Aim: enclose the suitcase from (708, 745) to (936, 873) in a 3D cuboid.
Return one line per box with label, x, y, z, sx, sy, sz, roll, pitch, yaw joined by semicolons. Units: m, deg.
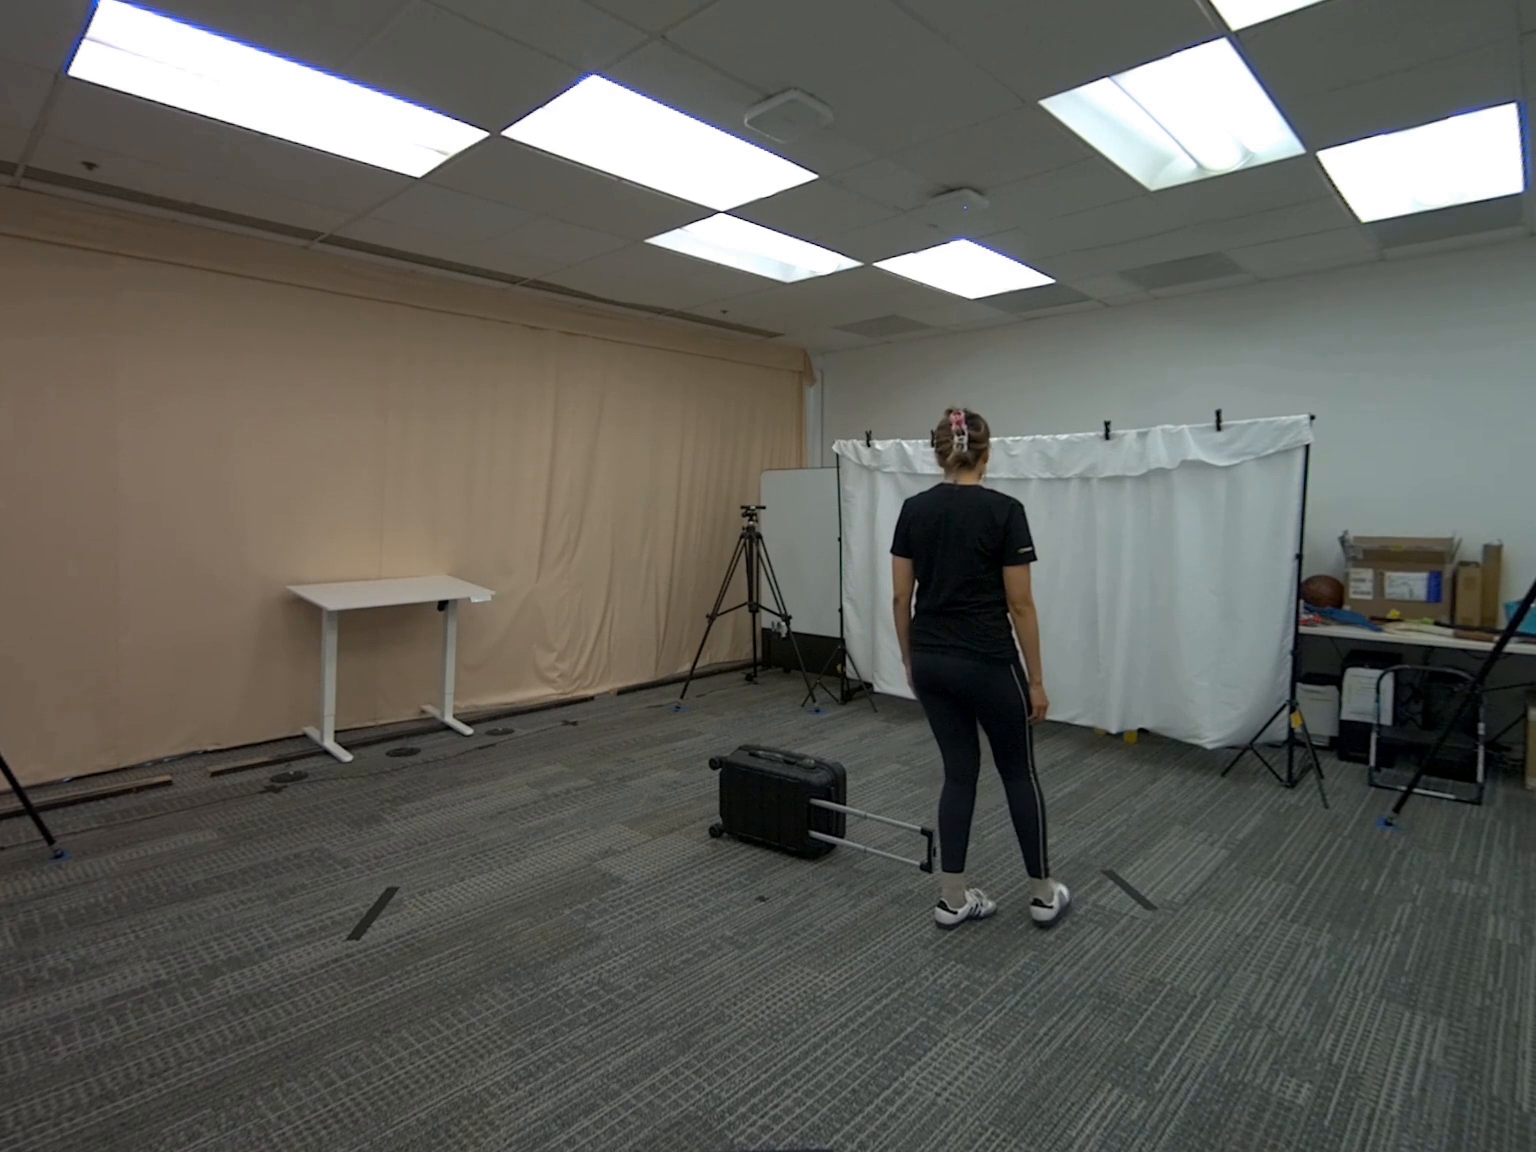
suitcase;0.222;0.924;3.348;1.009;0.383;0.250;3;5;34
